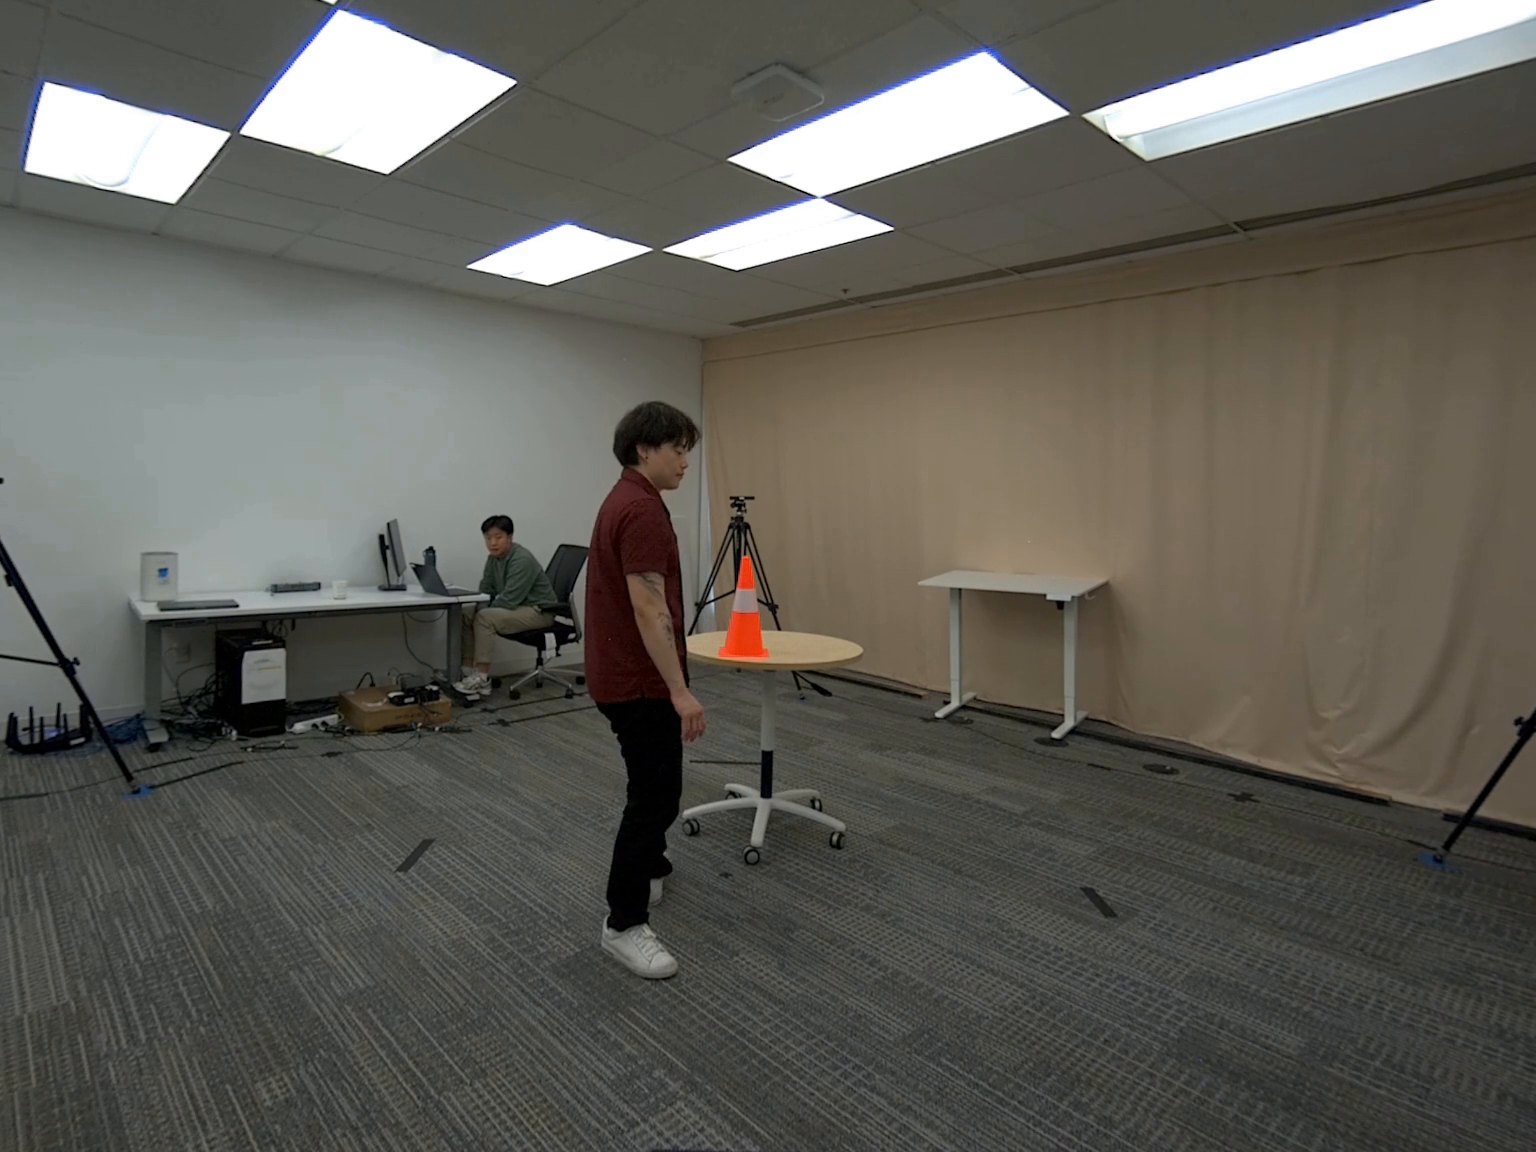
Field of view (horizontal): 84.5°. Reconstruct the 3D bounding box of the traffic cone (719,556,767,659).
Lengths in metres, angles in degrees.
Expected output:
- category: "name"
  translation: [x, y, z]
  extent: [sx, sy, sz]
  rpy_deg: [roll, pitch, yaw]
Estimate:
- category: "traffic cone"
  translation: [-0.101, 0.115, 3.300]
  extent: [0.202, 0.382, 0.207]
  rpy_deg: [0, 7, -5]
